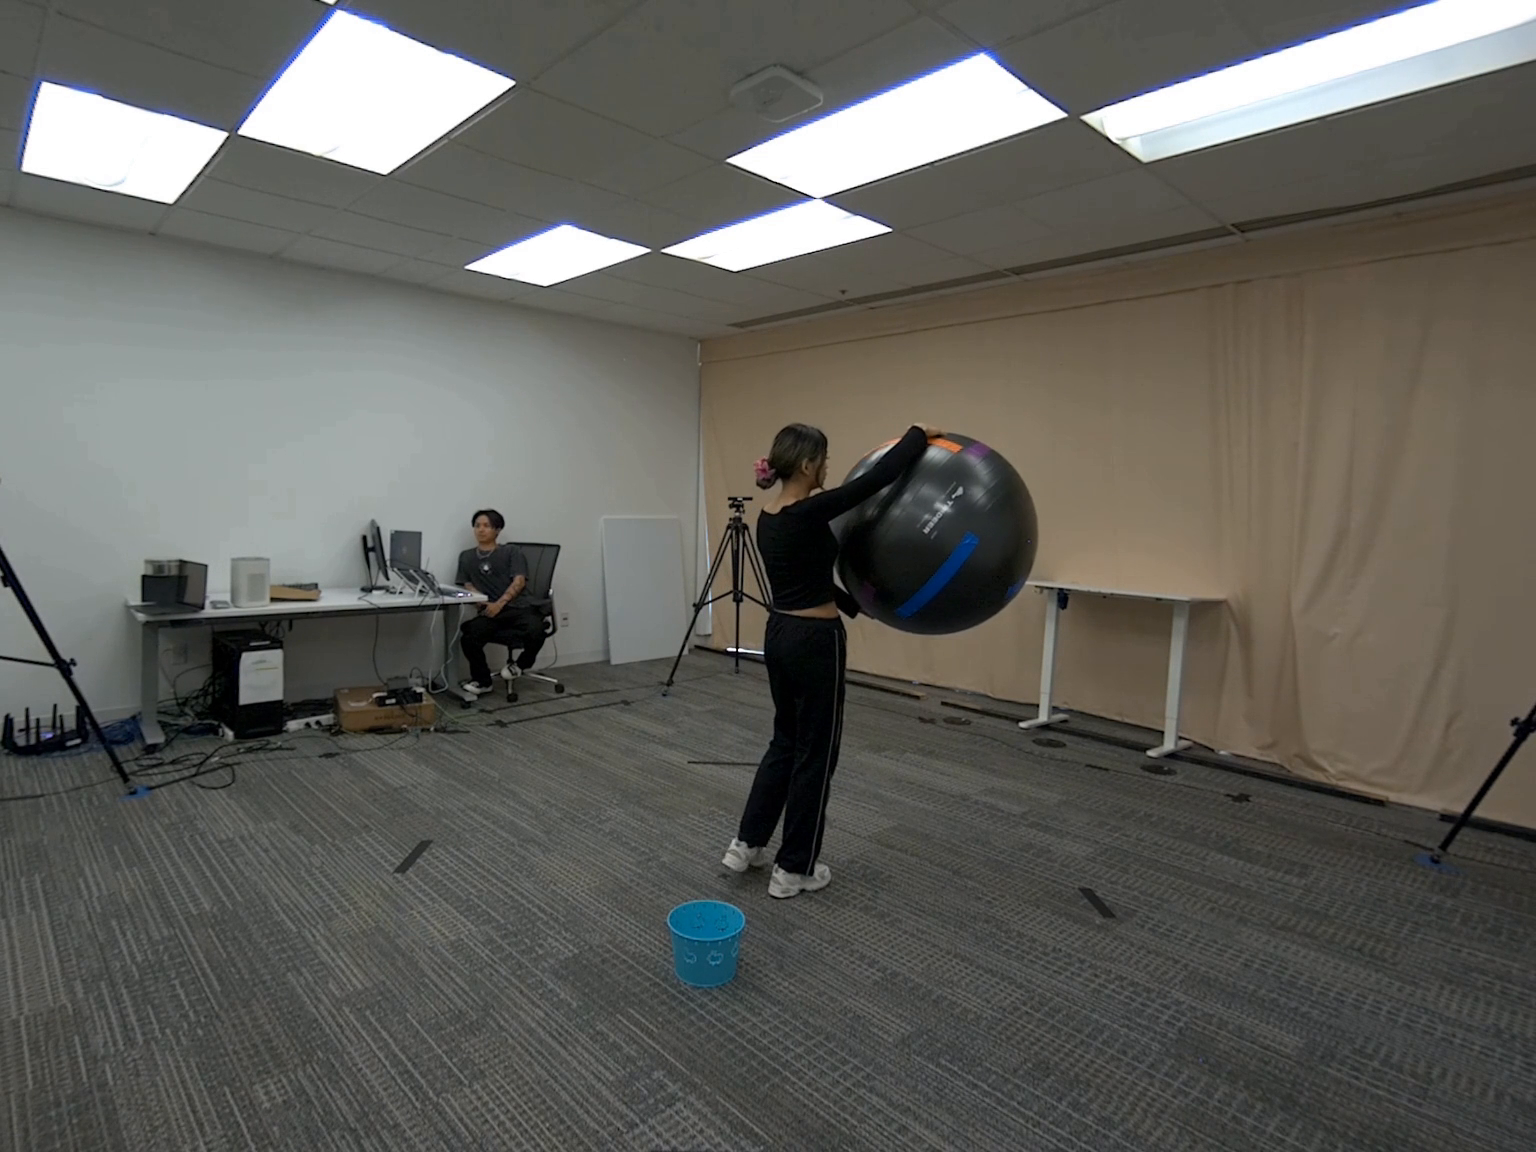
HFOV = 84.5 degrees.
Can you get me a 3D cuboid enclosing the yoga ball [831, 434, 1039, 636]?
[{"bbox_3d":[0.603,-0.158,3.142,0.757,0.756,0.761,1,4,-1],"label":"yoga ball"}]
